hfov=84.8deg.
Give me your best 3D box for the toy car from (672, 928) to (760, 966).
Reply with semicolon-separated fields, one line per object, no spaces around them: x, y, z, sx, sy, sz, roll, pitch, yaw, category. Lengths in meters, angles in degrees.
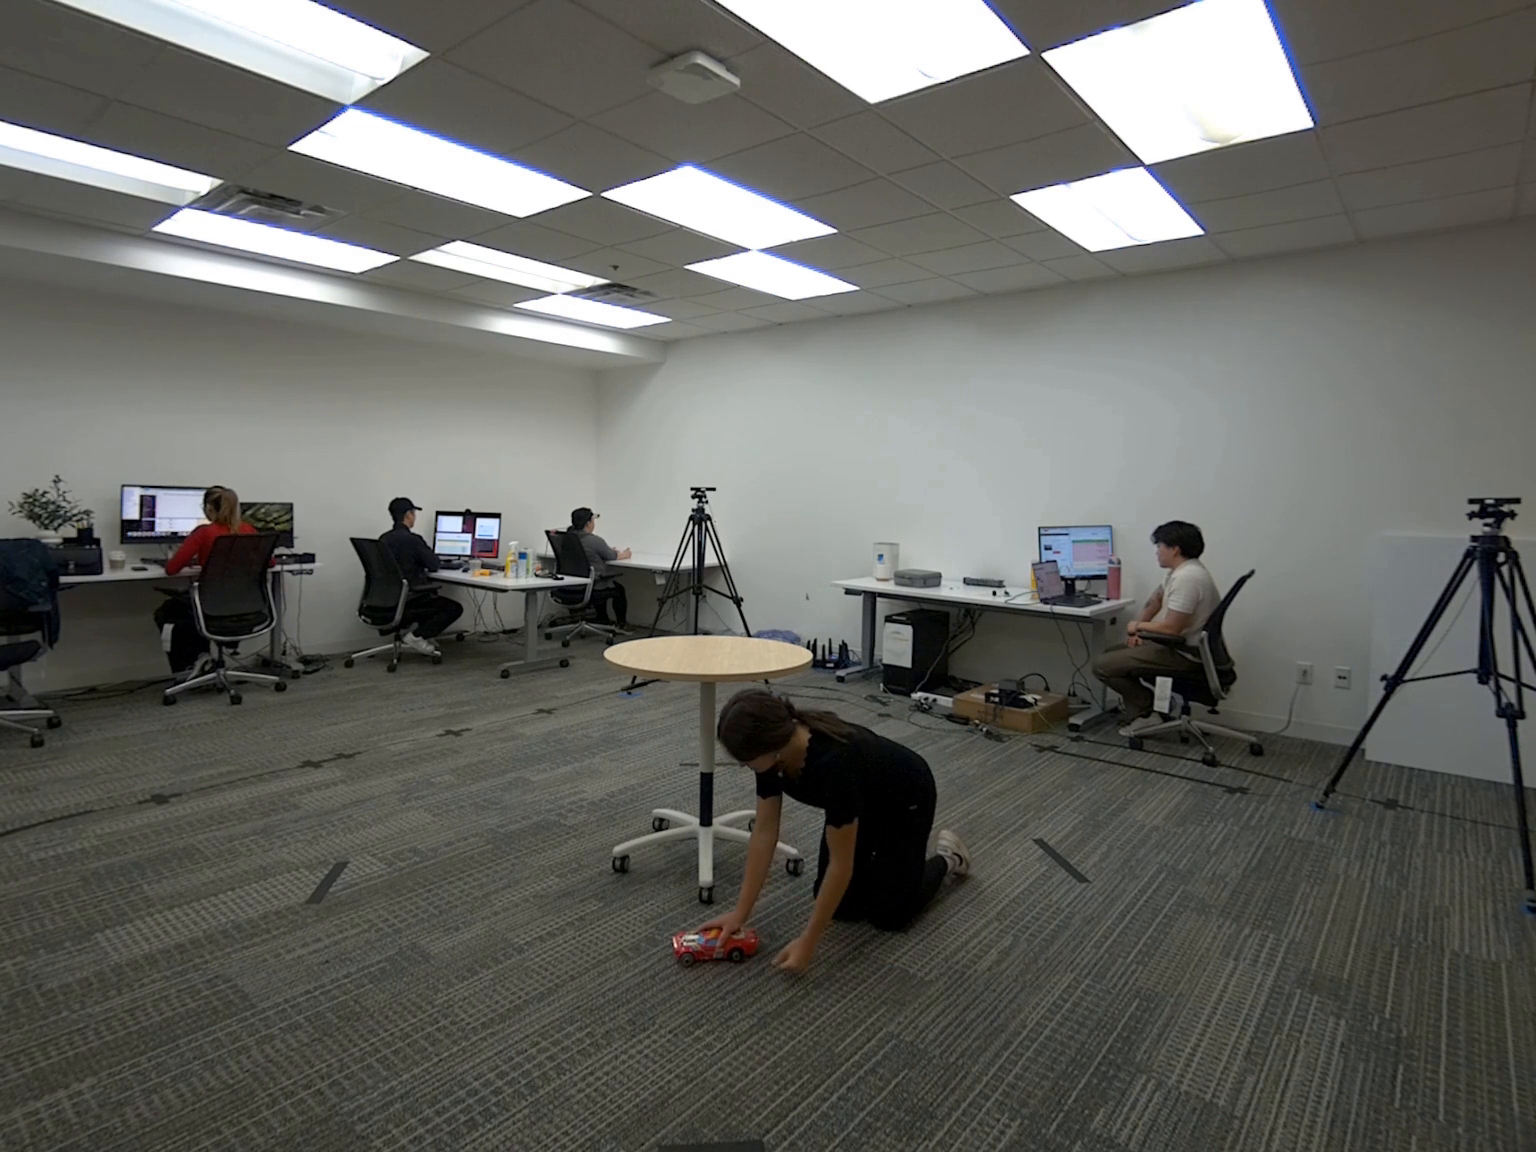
-0.157;1.097;2.529;0.252;0.083;0.132;-12;7;-10;toy car
